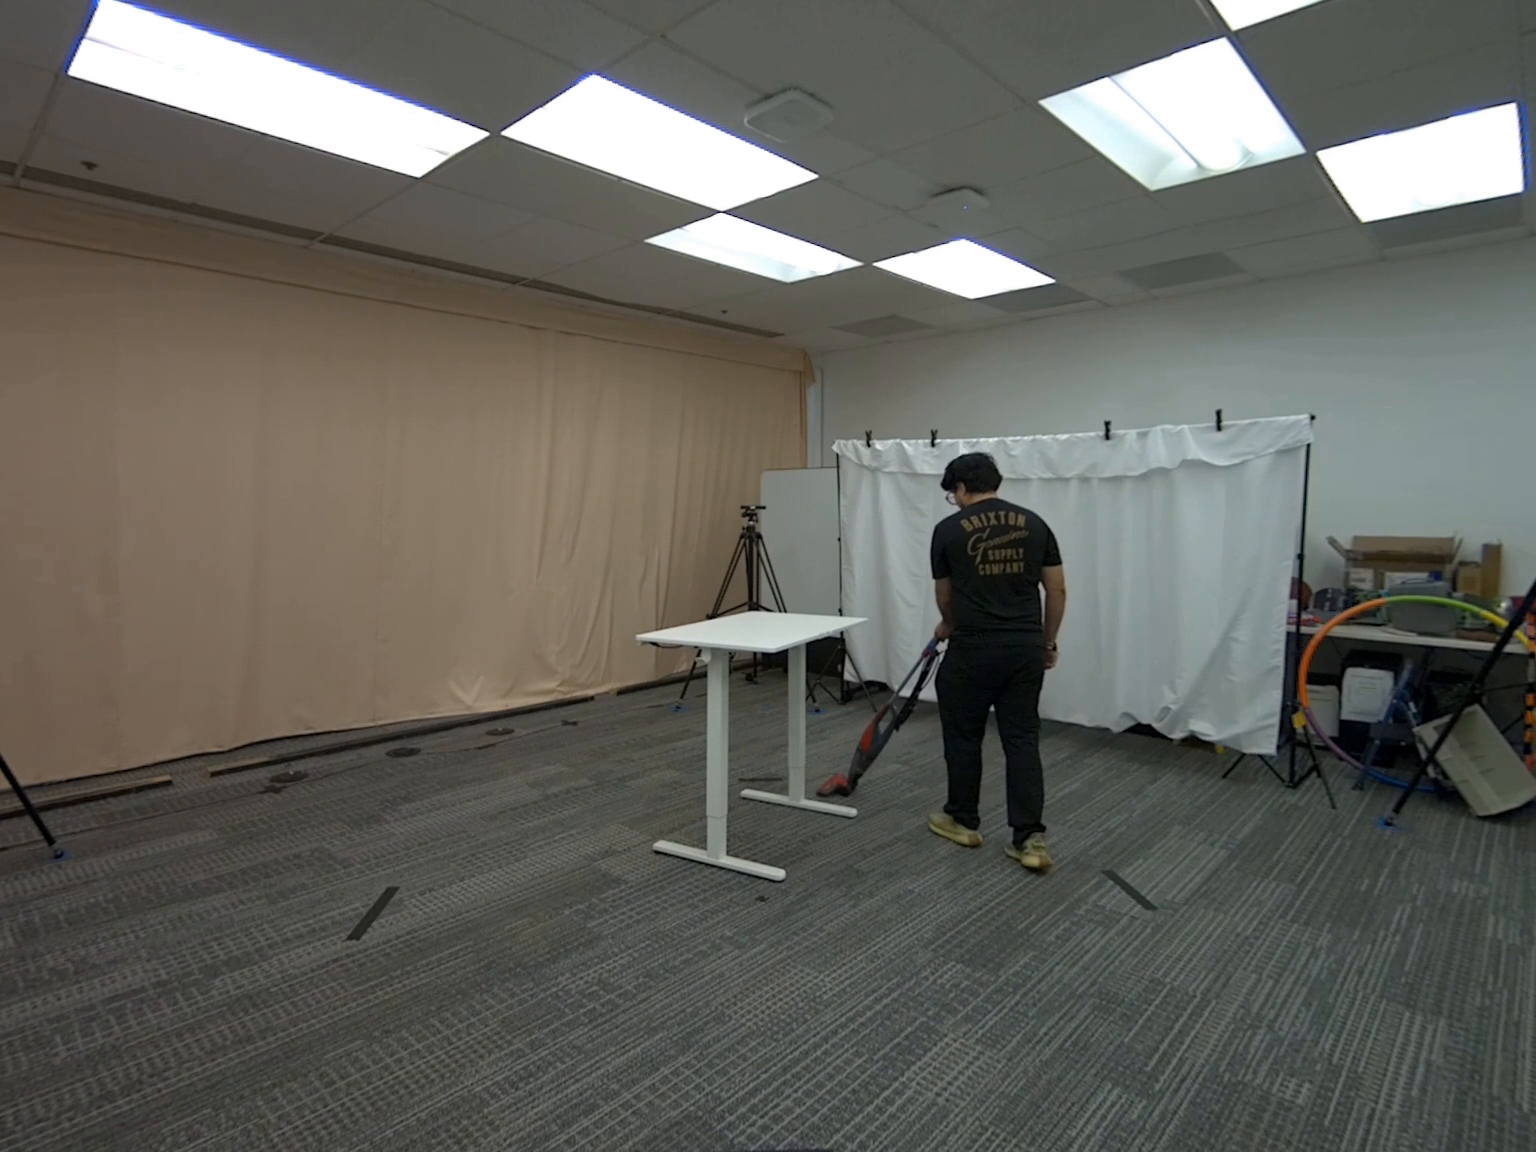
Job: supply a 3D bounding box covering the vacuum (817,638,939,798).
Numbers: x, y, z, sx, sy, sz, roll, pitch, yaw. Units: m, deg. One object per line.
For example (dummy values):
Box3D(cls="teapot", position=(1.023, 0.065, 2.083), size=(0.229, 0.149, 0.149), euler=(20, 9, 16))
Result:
Box3D(cls="vacuum", position=(0.592, 0.628, 3.917), size=(0.147, 1.050, 0.246), euler=(41, 24, 19))
